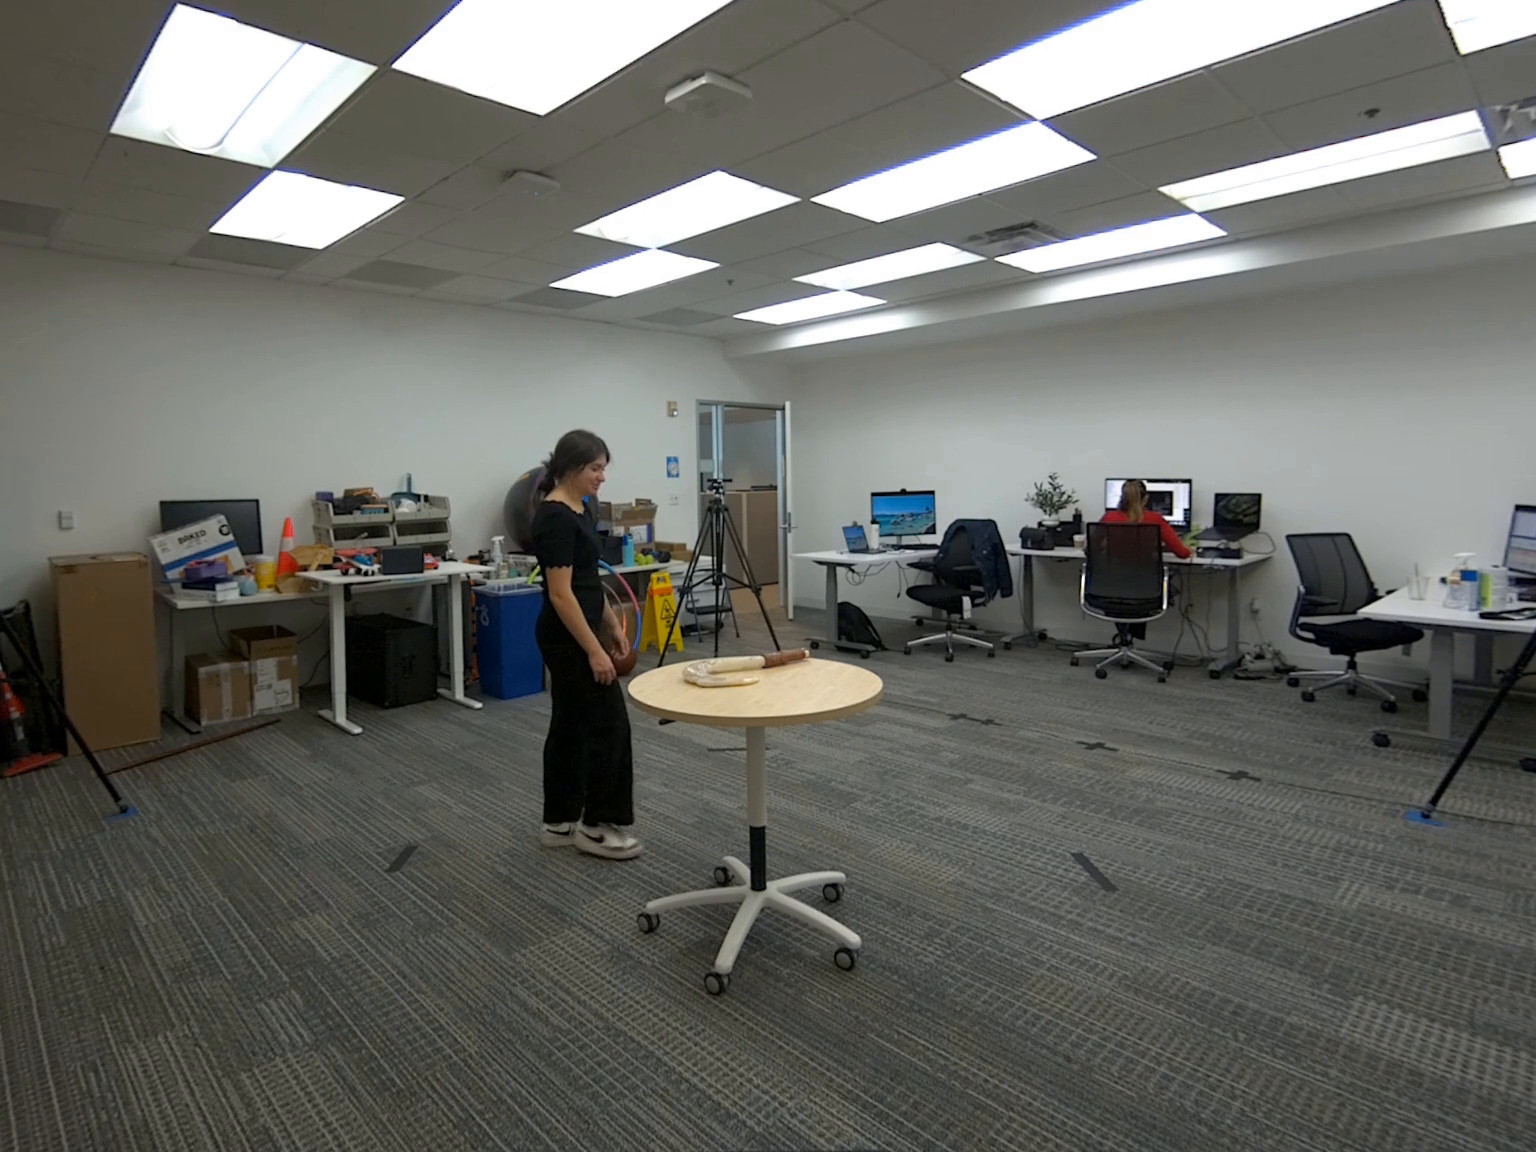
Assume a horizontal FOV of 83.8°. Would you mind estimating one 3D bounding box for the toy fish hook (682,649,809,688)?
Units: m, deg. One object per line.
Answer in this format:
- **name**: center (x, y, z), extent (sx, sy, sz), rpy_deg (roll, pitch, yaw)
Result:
- **toy fish hook**: center (-0.028, 0.301, 2.711), extent (0.494, 0.048, 0.233), rpy_deg (-7, 17, -36)
